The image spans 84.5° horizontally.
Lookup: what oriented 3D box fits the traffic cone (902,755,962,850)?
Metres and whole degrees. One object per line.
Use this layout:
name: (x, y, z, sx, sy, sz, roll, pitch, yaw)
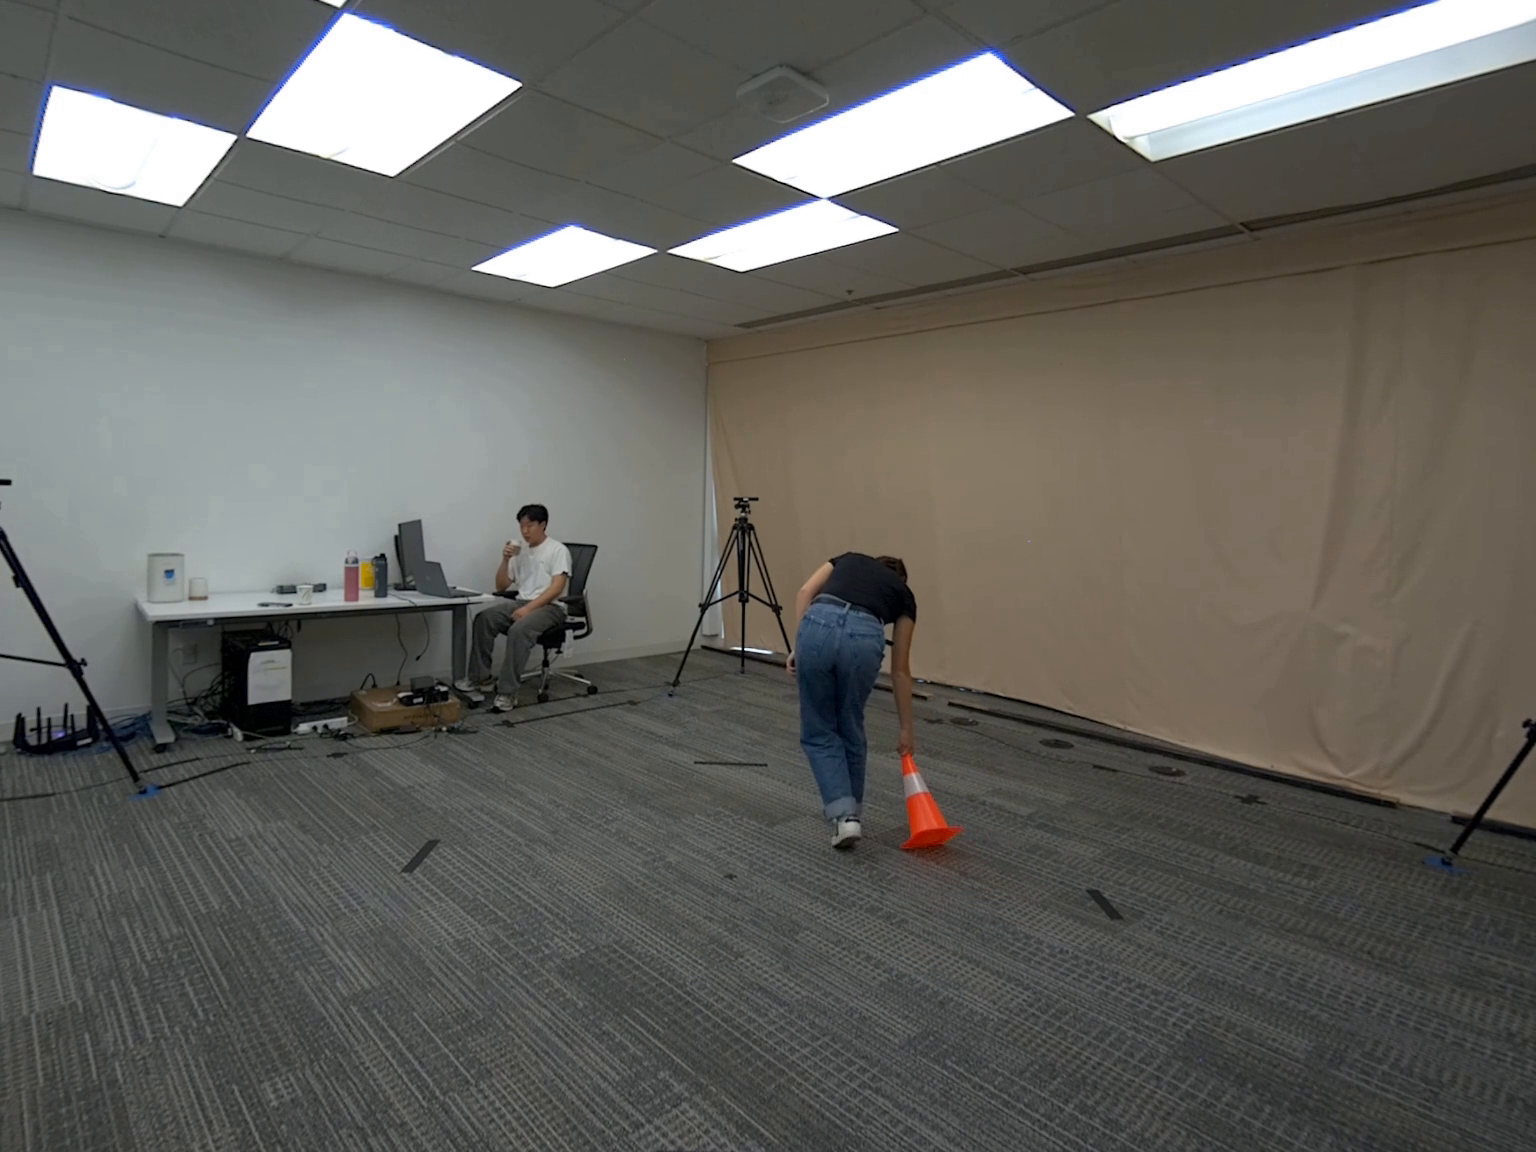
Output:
traffic cone: (0.599, 0.893, 3.454, 0.200, 0.394, 0.203, 2, -39, -20)
